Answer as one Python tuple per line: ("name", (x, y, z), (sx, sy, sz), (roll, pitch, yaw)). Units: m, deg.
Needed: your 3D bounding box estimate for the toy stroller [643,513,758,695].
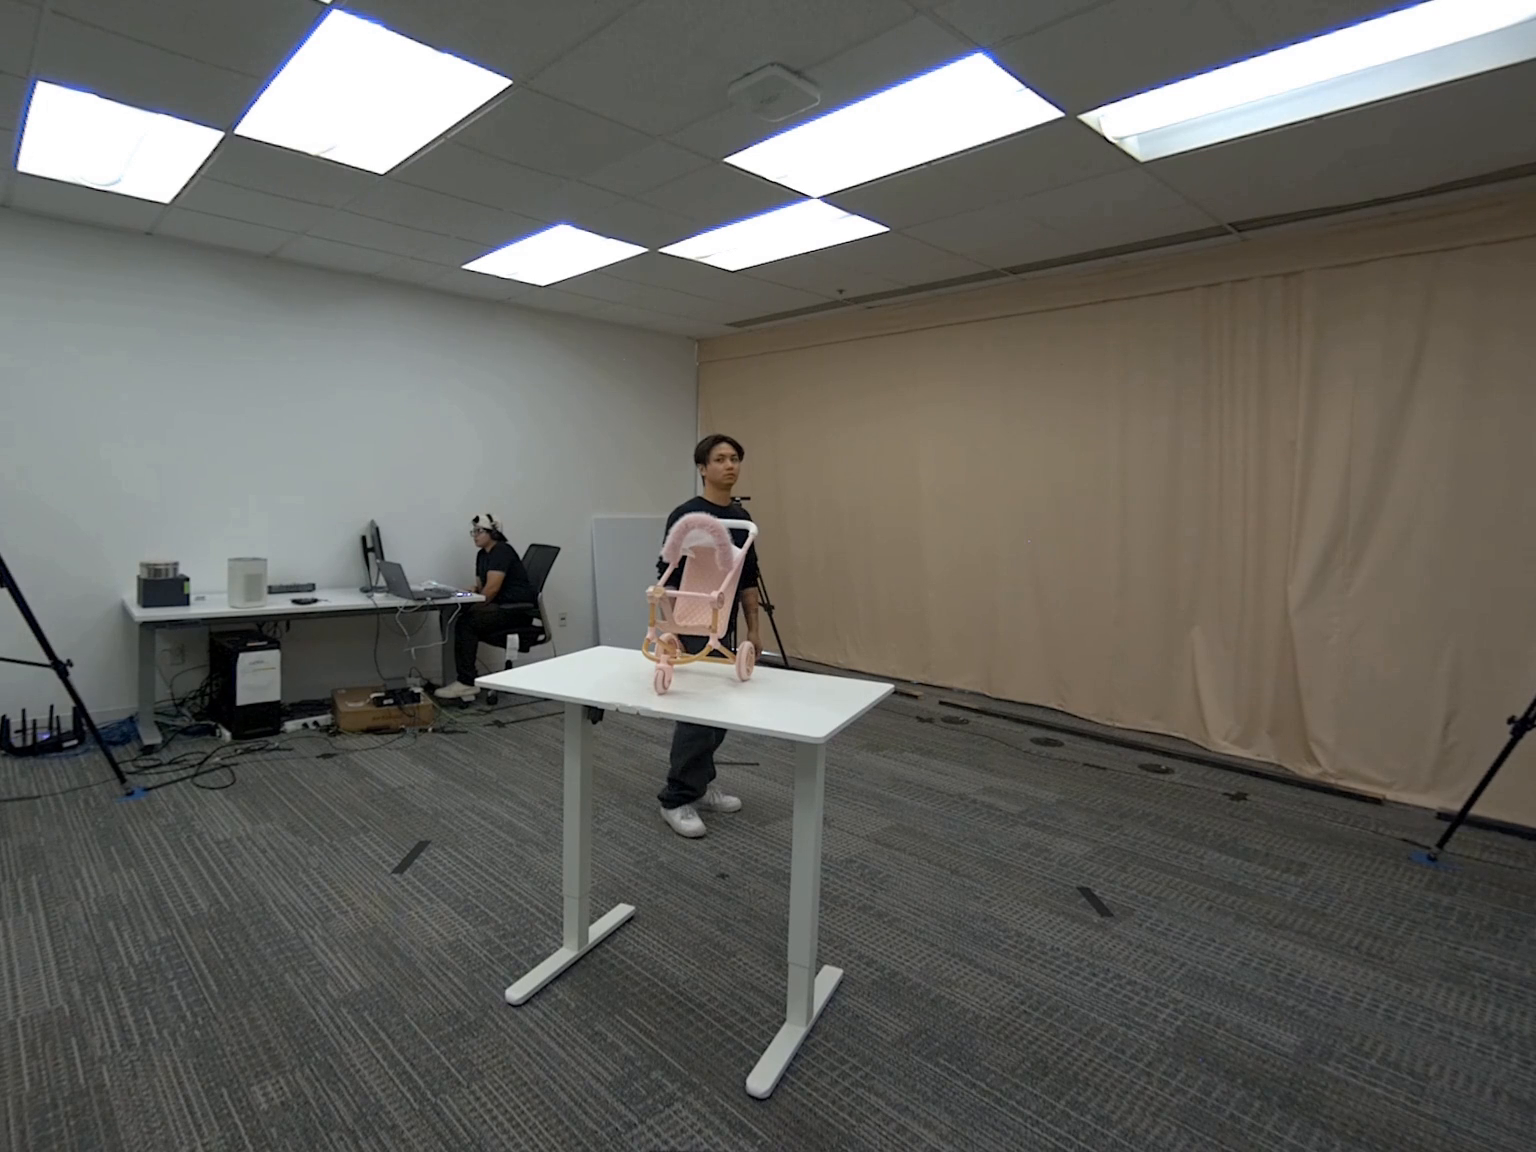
("toy stroller", (-0.209, 0.069, 2.334), (0.287, 0.538, 0.332), (3, -9, 26))
